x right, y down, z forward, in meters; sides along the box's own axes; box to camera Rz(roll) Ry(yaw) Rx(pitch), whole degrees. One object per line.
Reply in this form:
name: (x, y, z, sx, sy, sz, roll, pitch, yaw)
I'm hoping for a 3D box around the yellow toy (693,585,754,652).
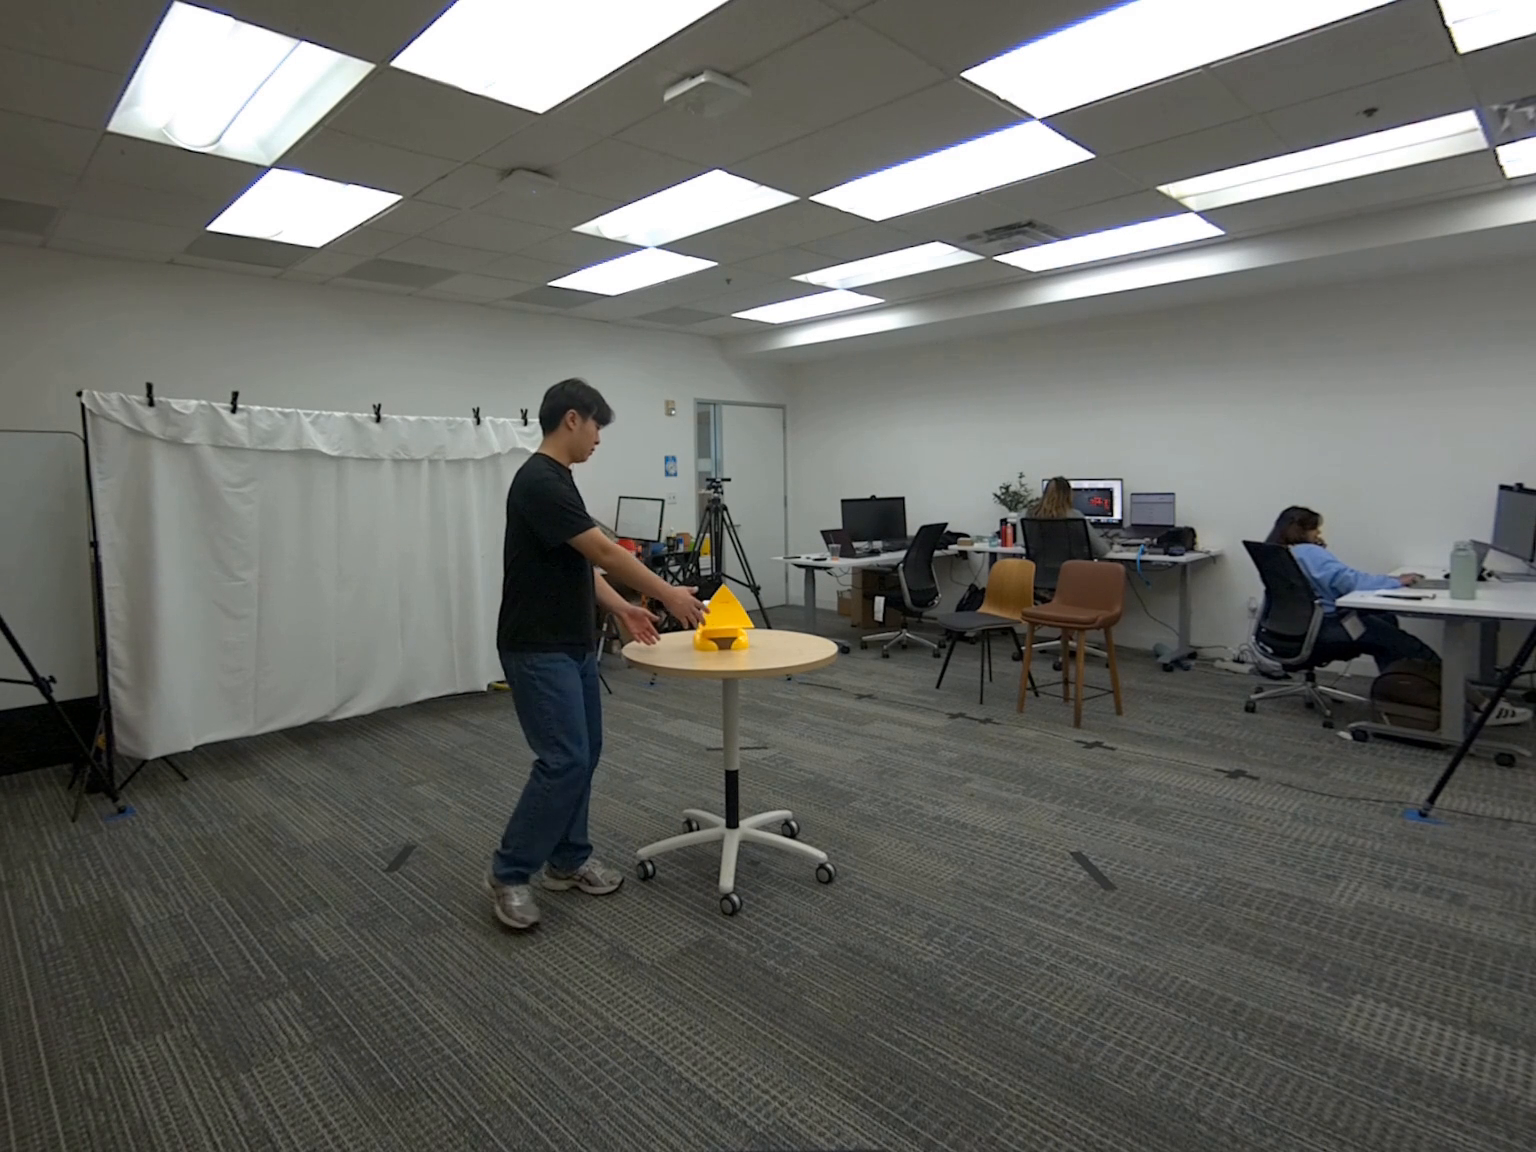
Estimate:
yellow toy: (-0.165, 0.136, 3.055, 0.202, 0.229, 0.196, -2, 6, -13)
